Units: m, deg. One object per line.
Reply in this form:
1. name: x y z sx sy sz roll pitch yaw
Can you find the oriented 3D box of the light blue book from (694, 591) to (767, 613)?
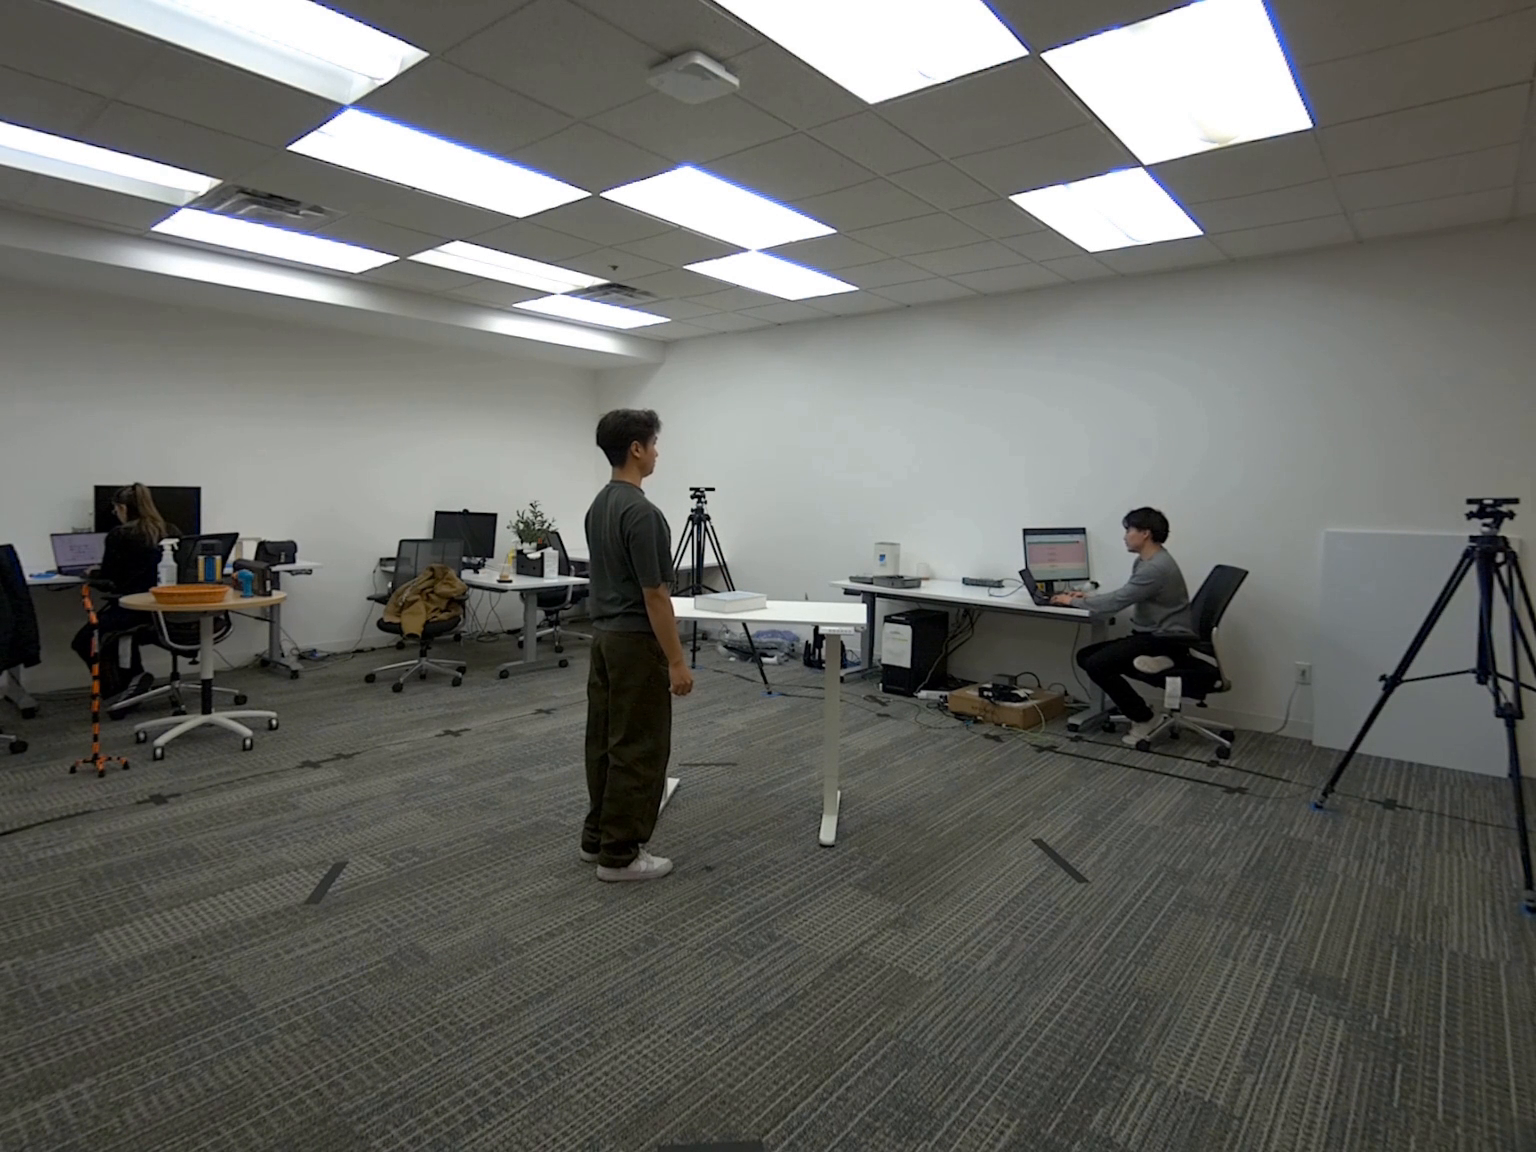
1. light blue book: -0.168 0.106 3.629 0.198 0.059 0.253 5 7 42
